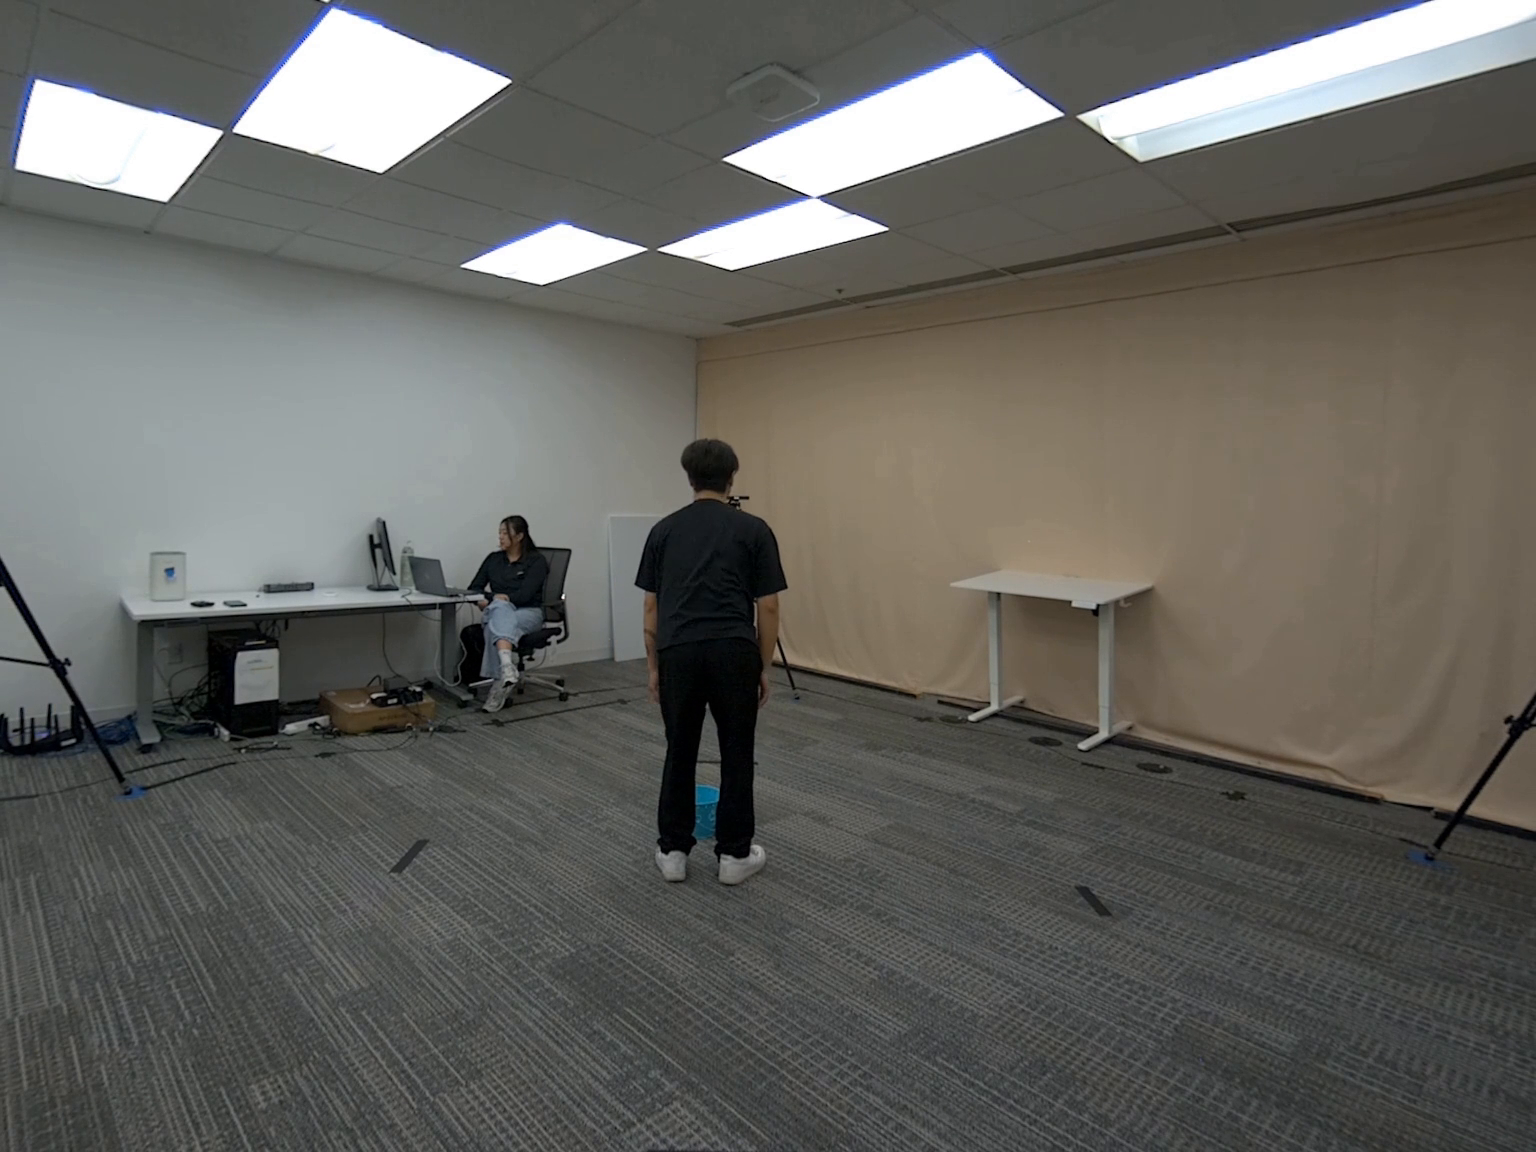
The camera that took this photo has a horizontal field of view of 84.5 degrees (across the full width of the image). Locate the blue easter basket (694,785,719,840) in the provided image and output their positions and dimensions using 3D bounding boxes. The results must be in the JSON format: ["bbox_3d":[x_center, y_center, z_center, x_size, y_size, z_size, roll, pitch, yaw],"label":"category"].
[{"bbox_3d":[-0.313,0.987,3.518,0.243,0.155,0.244,1,4,-1],"label":"blue easter basket"}]
